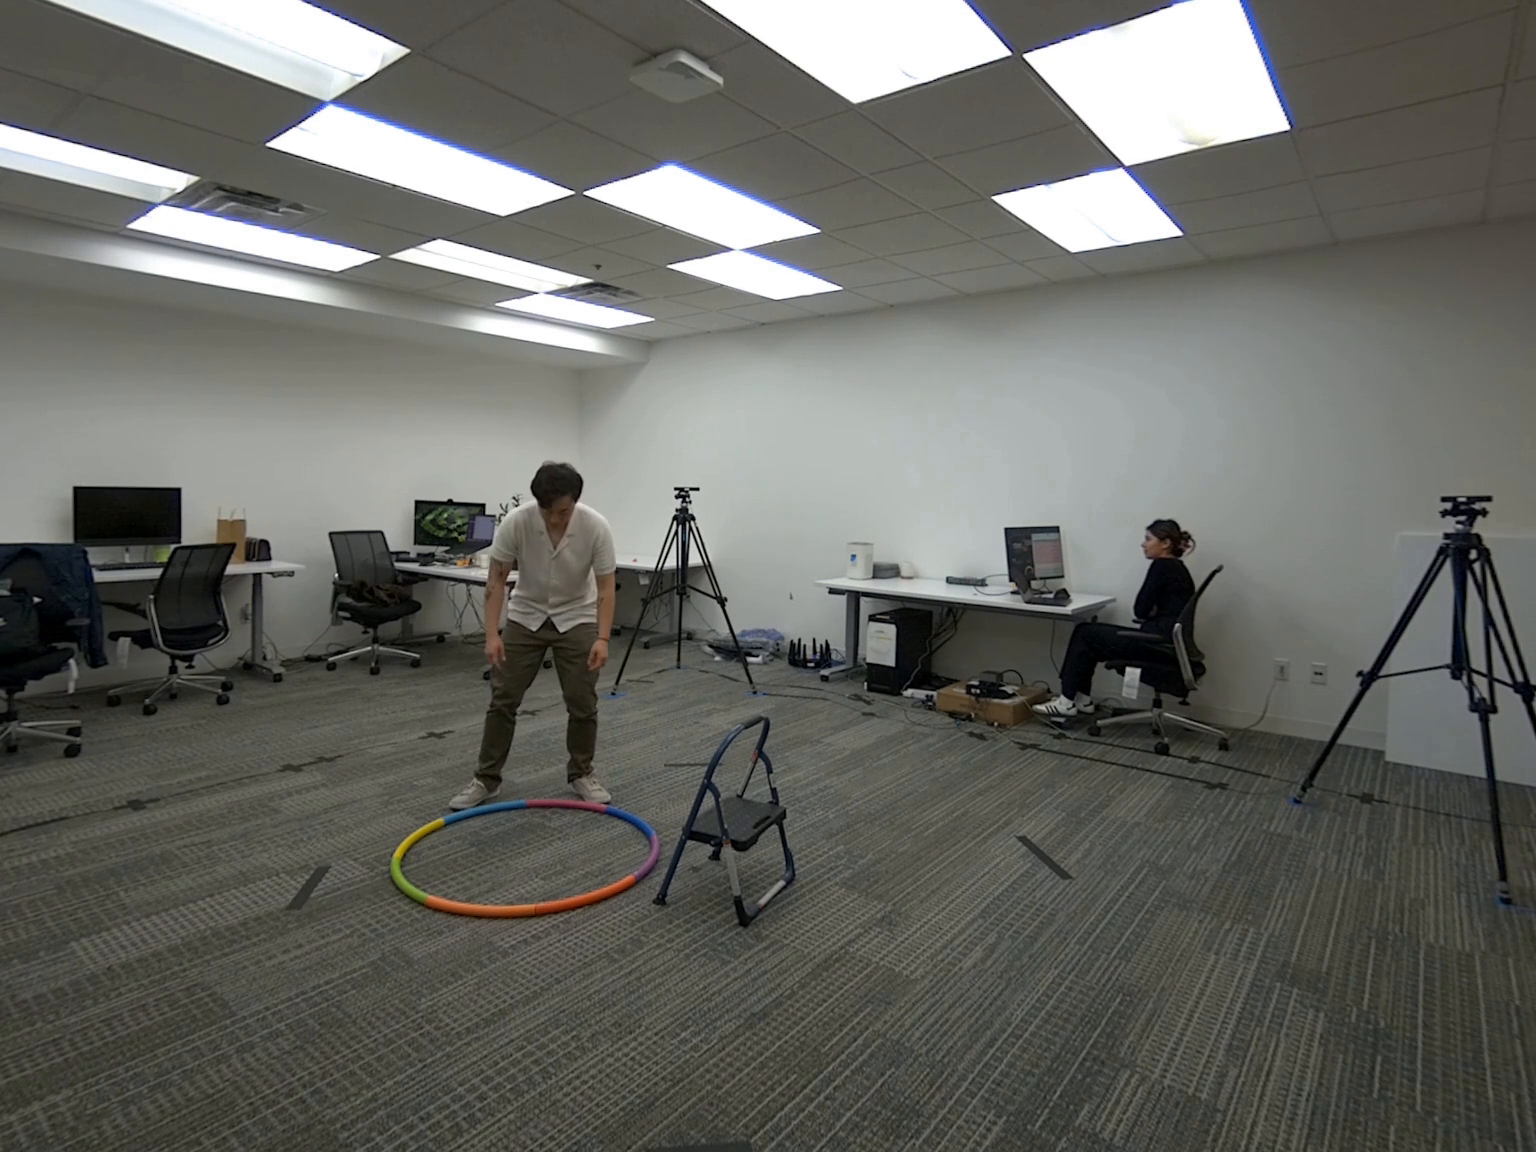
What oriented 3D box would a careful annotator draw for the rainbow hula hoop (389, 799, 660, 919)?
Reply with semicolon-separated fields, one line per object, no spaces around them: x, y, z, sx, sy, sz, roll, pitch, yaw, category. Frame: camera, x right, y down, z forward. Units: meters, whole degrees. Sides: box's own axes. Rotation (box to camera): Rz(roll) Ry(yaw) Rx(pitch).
-0.910;1.018;3.208;0.978;0.035;0.984;1;6;-2;rainbow hula hoop
